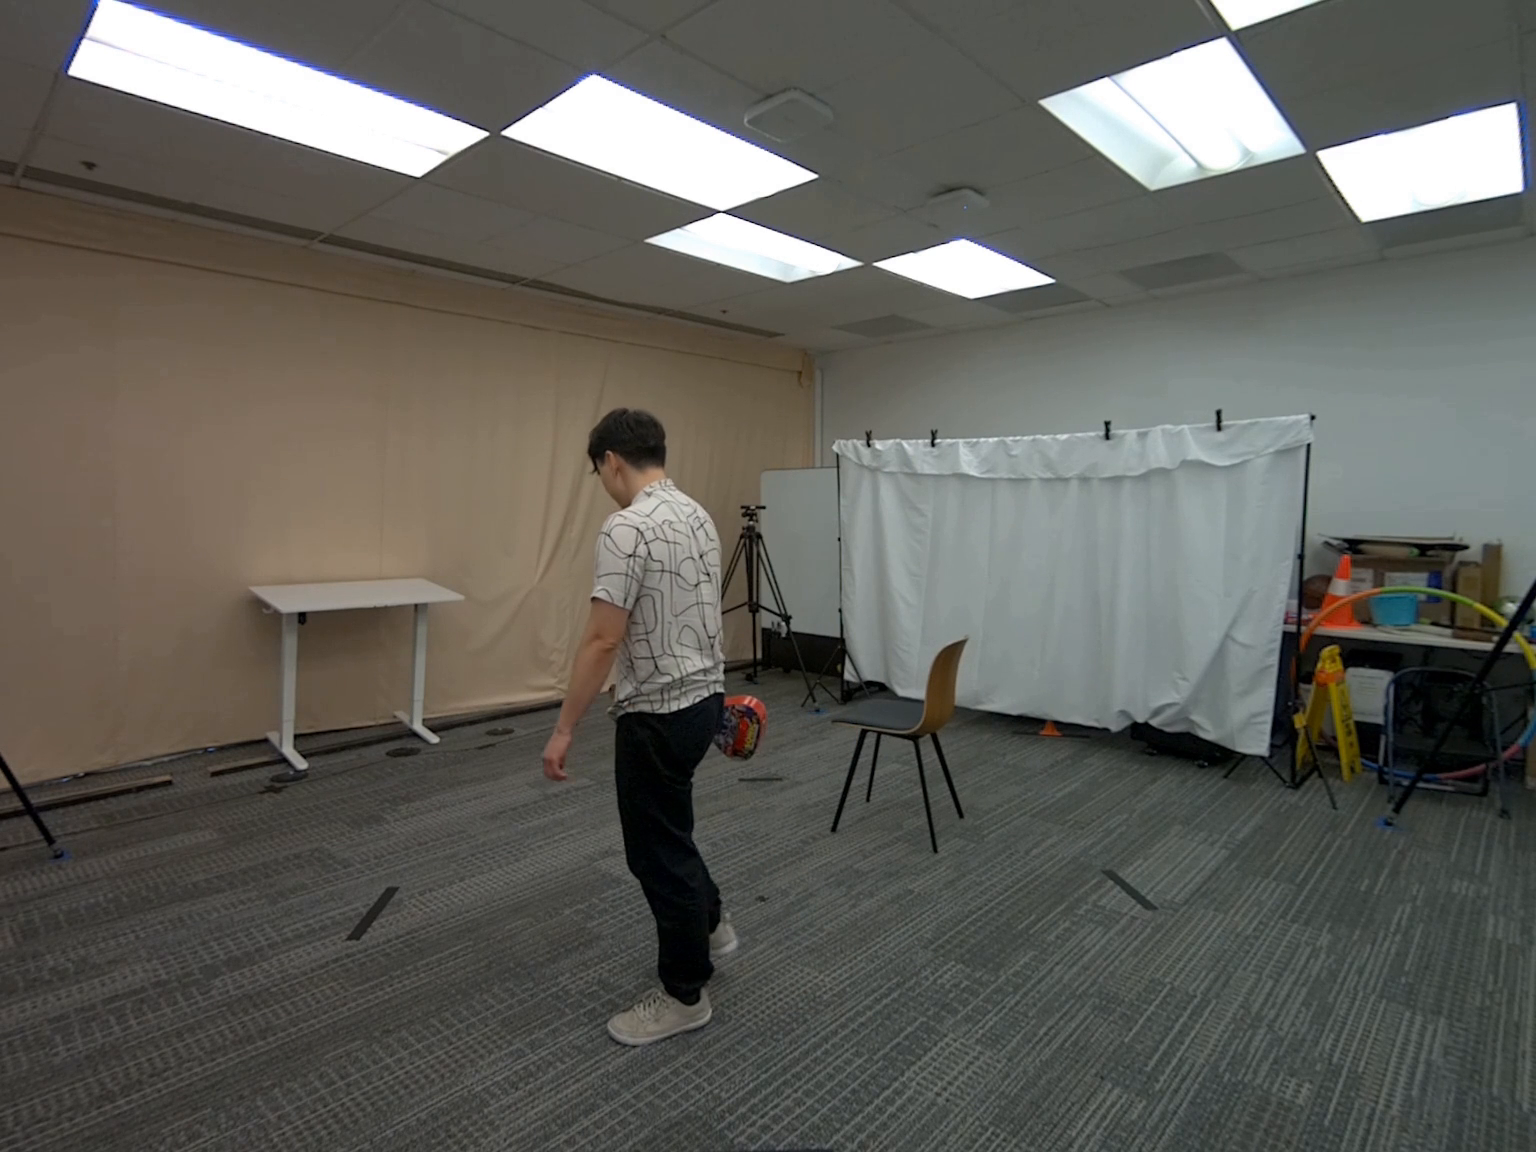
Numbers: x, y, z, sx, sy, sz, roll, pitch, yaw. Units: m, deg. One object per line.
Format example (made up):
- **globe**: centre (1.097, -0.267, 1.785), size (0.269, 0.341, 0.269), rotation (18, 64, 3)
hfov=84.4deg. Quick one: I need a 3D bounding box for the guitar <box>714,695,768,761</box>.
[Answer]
- **guitar**: centre (-0.236, 0.396, 2.606), size (0.504, 0.192, 0.070), rotation (24, 19, 10)
